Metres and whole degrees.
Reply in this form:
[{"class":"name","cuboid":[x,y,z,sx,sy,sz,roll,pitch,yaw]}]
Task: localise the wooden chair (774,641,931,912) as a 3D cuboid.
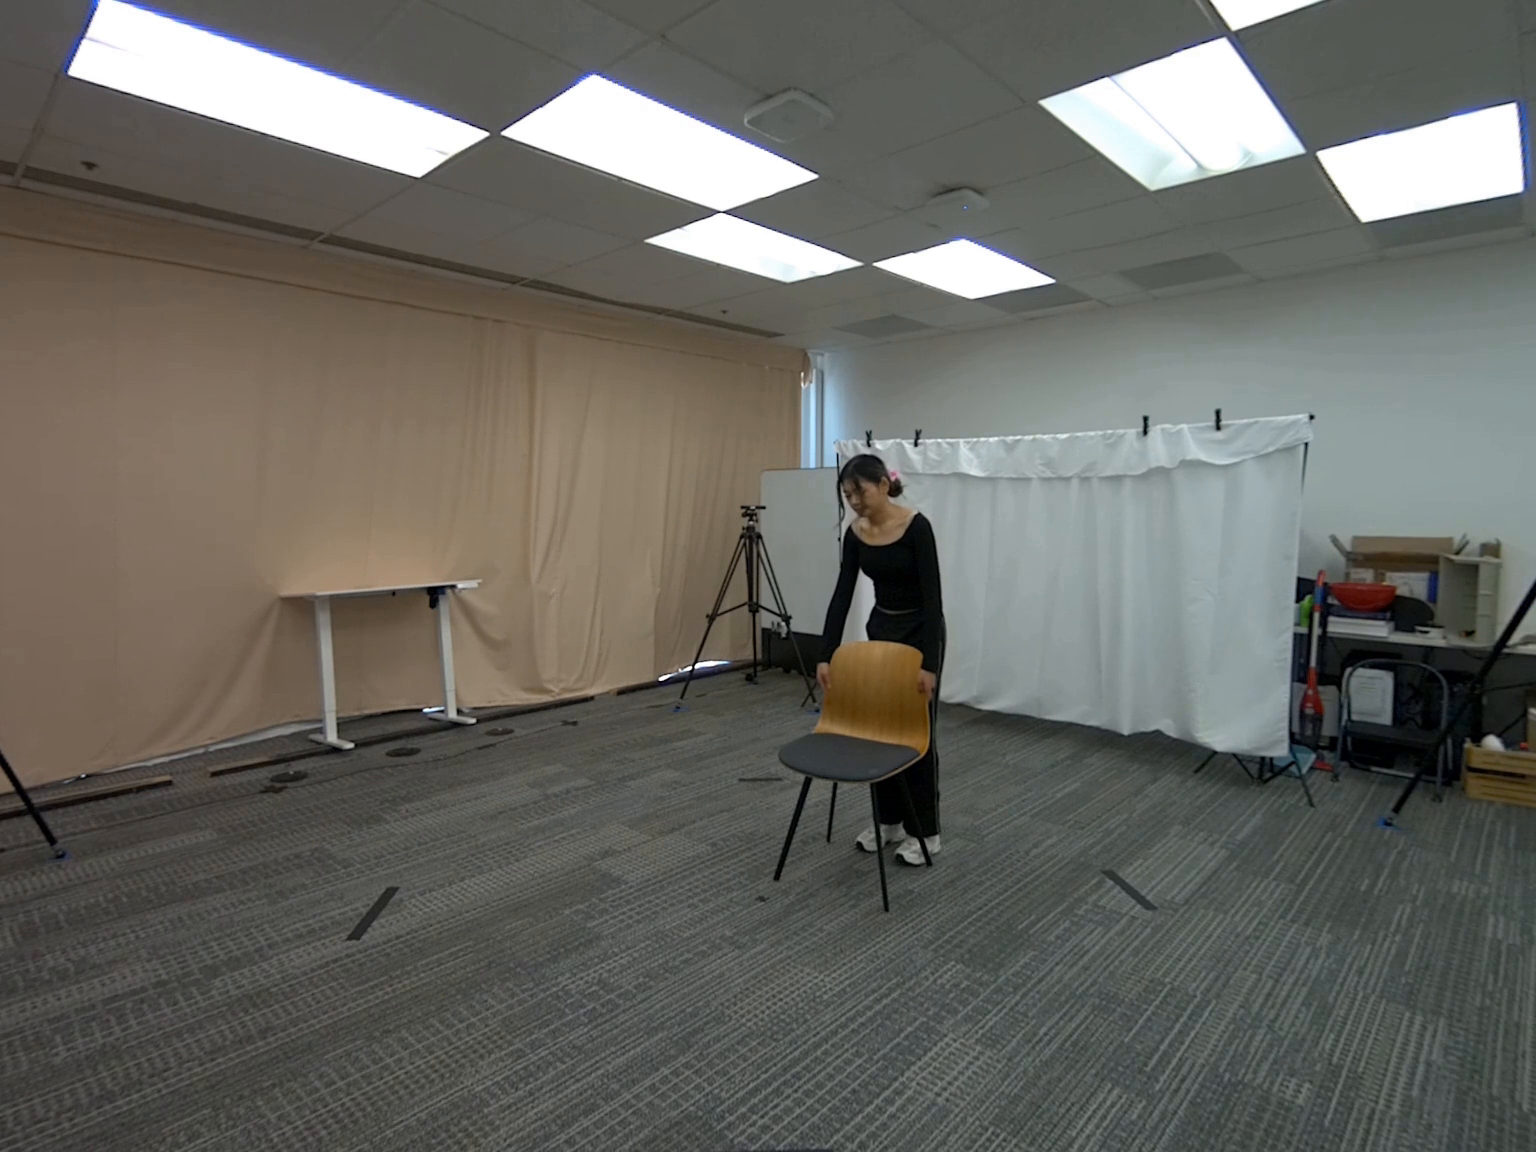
[{"class":"wooden chair","cuboid":[0.324,0.701,3.150,0.493,0.877,0.507,3,0,32]}]
